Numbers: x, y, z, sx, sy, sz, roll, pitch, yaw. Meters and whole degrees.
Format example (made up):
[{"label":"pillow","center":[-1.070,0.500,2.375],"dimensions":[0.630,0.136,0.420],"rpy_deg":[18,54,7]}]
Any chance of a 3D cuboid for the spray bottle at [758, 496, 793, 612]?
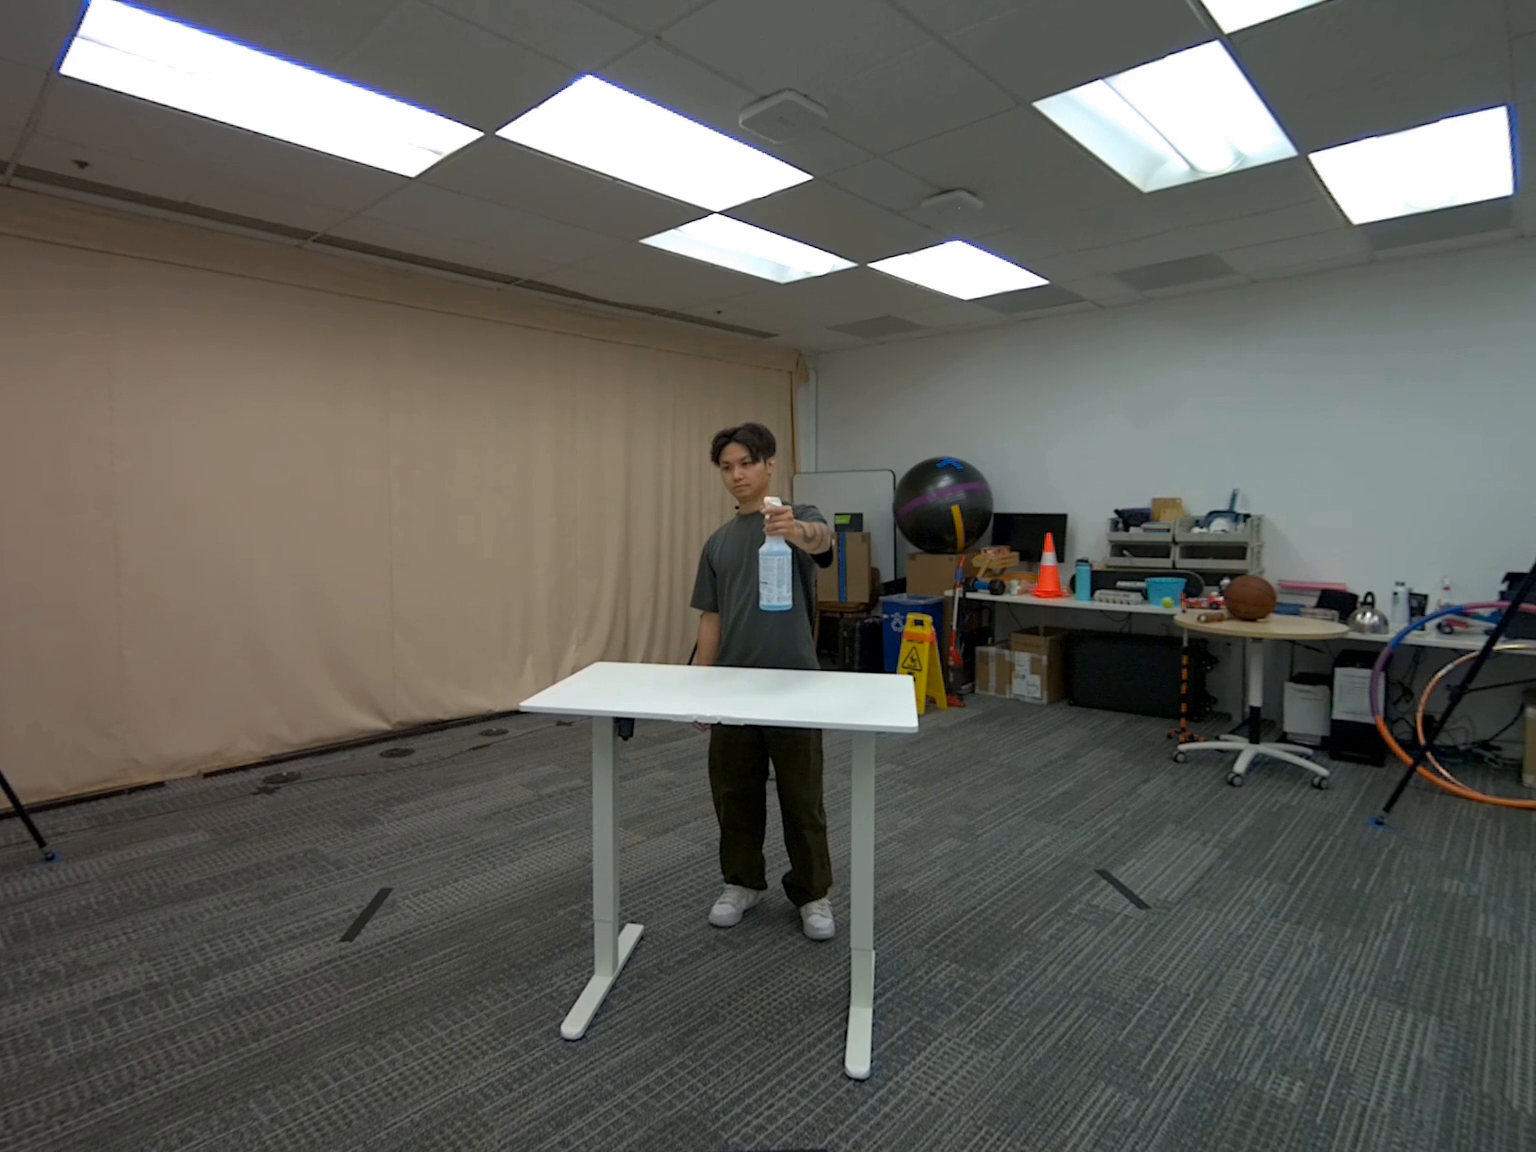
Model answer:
[{"label":"spray bottle","center":[0.017,-0.057,2.230],"dimensions":[0.087,0.296,0.090],"rpy_deg":[-5,5,-38]}]
